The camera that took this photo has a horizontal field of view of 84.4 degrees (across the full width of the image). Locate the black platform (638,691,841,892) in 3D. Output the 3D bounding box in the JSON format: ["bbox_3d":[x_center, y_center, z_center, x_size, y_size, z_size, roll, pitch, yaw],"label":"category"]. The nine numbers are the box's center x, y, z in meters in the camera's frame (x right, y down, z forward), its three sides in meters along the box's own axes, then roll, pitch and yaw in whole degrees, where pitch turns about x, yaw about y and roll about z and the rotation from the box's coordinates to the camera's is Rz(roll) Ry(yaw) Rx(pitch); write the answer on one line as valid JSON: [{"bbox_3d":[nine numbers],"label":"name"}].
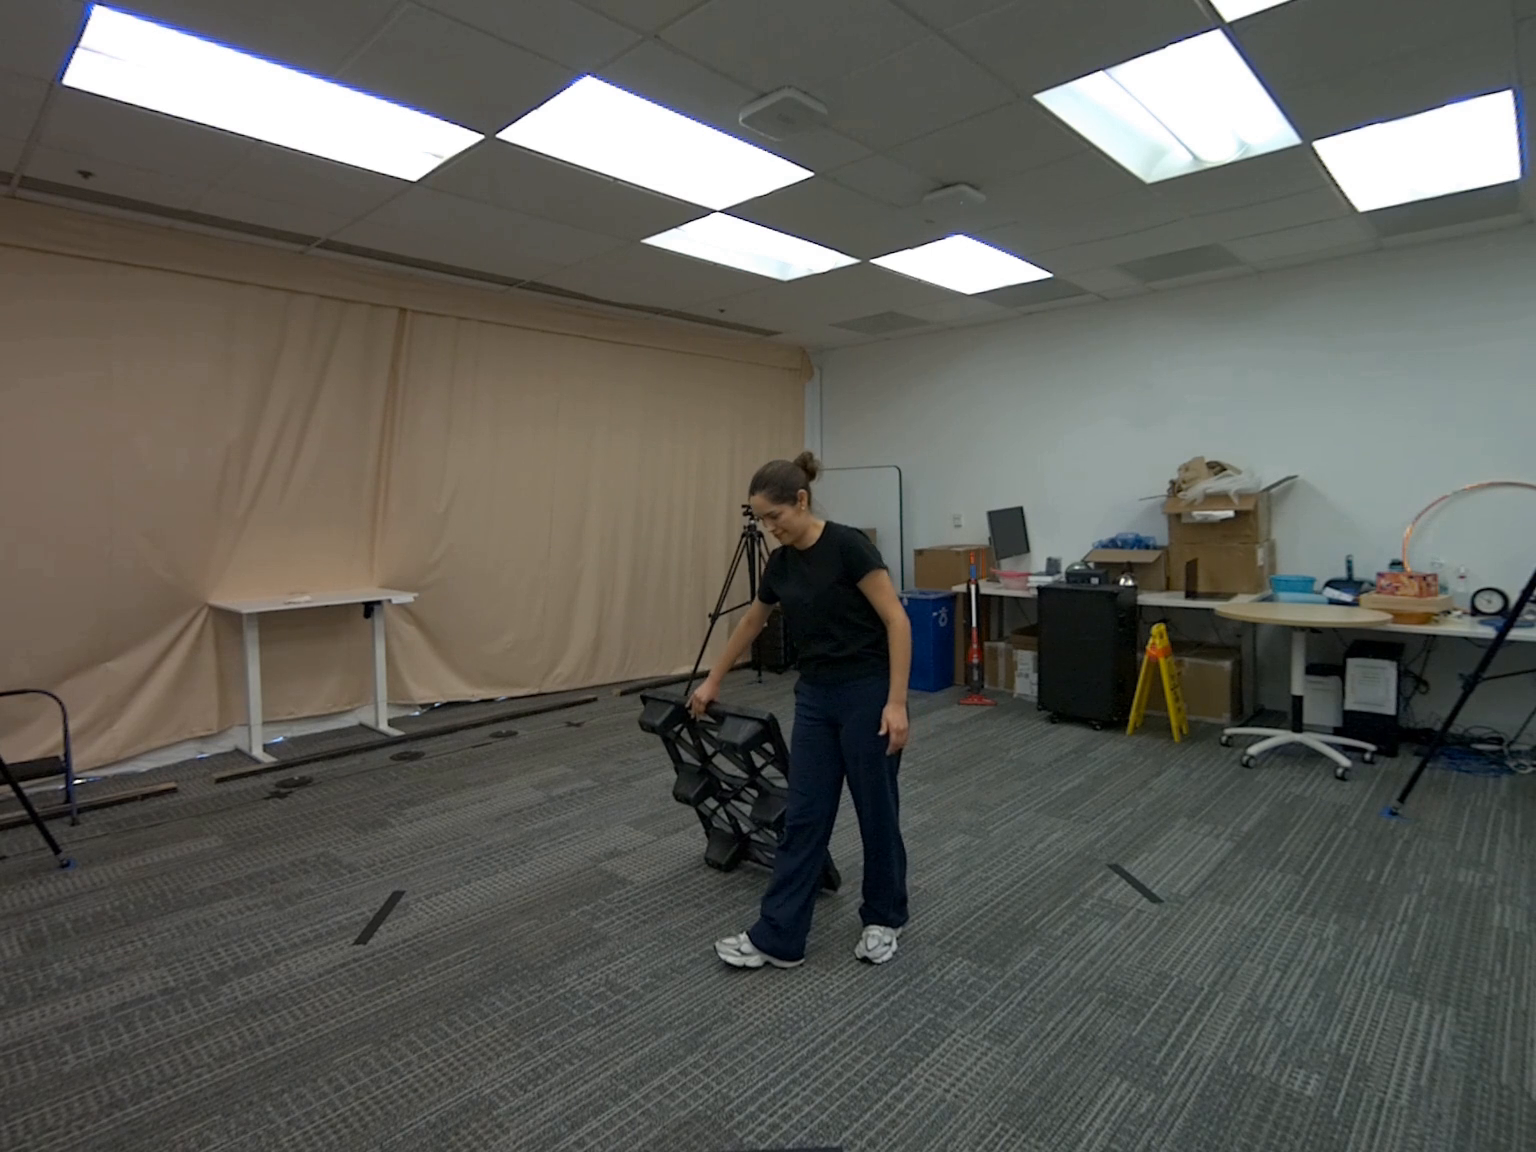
[{"bbox_3d":[-0.110,0.789,2.991,0.625,0.789,0.142,2,32,40],"label":"black platform"}]
